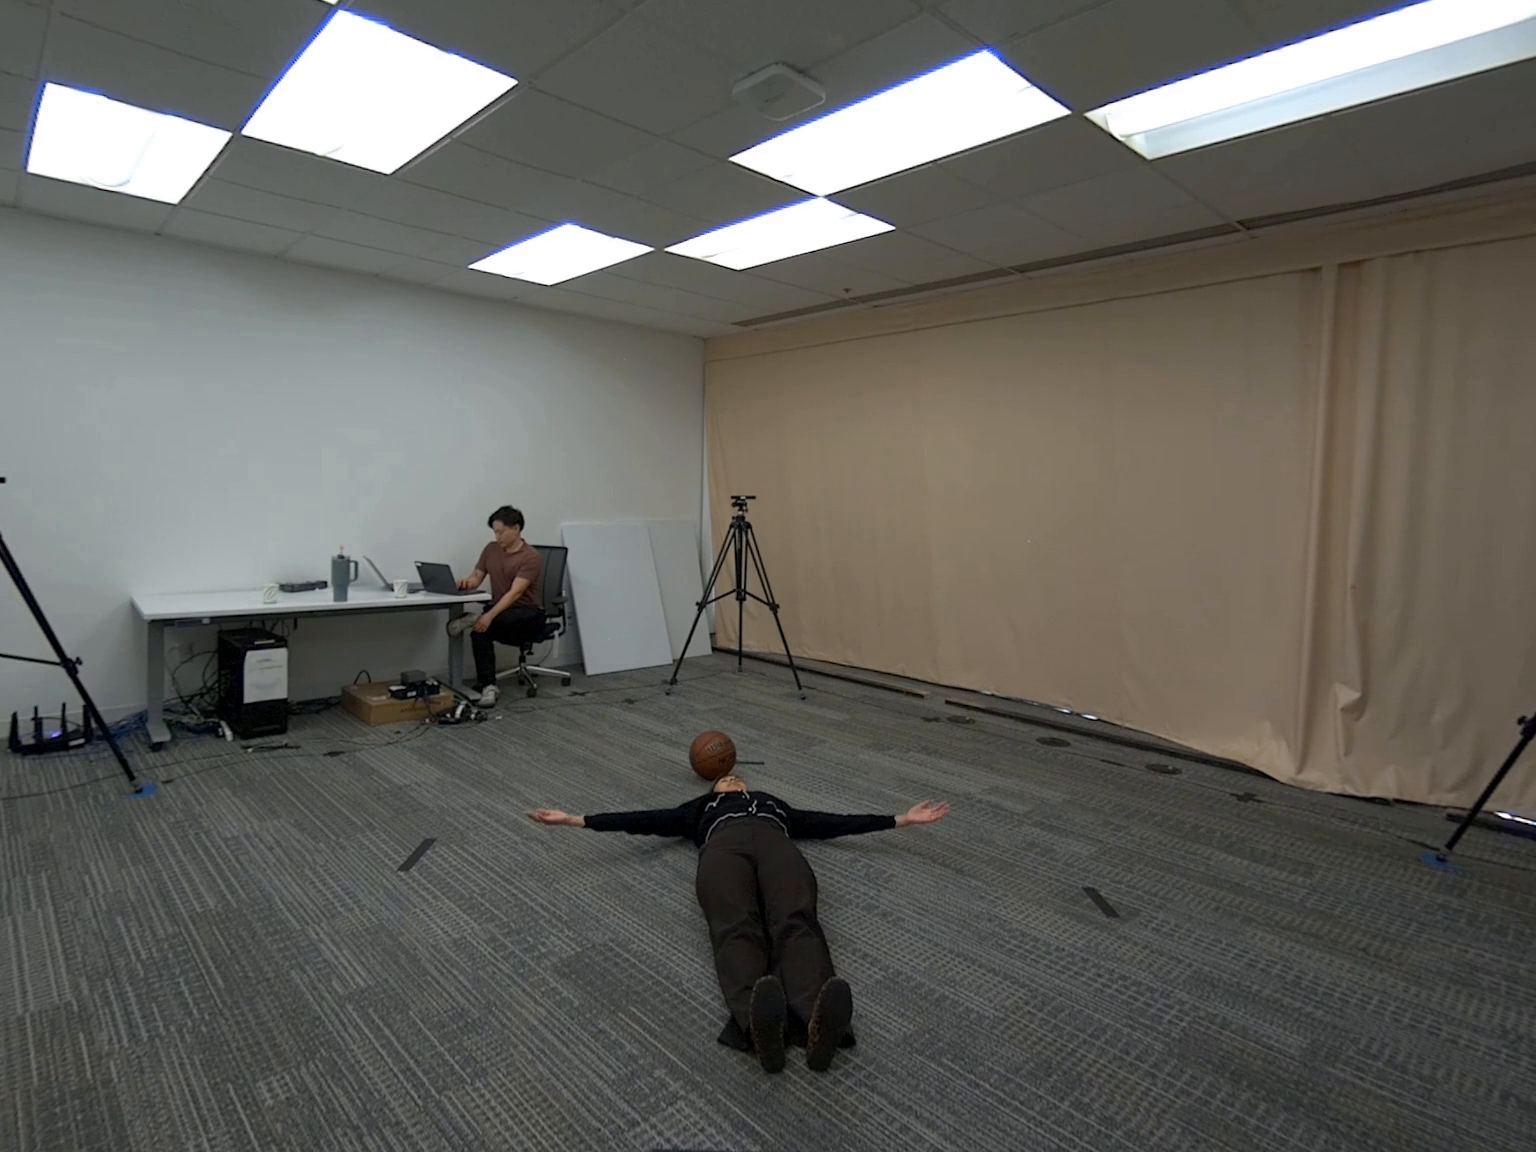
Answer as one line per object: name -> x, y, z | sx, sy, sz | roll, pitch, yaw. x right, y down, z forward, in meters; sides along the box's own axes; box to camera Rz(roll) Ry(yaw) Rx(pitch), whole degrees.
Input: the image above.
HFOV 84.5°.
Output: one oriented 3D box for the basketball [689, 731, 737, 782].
basketball -> -0.289, 0.886, 4.179 | 0.236, 0.235, 0.237 | 1, 4, -1
